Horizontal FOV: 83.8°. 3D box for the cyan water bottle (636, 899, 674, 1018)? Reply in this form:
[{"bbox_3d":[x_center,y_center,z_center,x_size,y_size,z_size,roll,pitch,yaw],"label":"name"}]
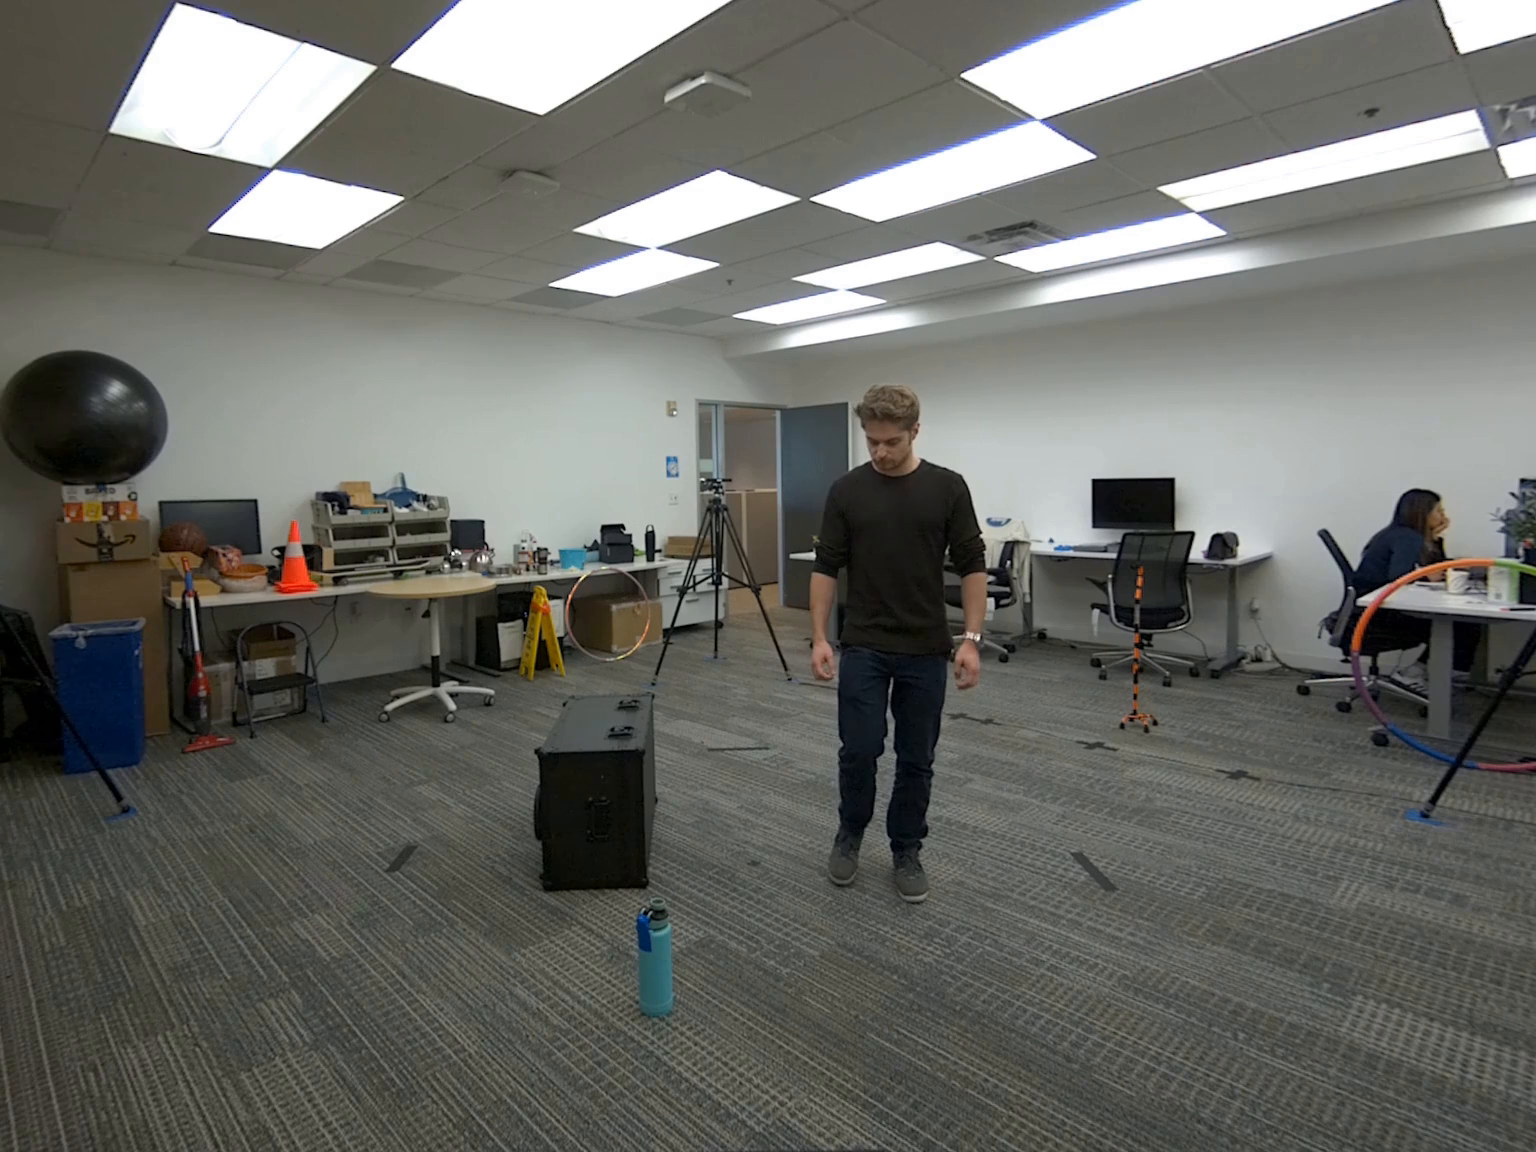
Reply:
[{"bbox_3d":[-0.296,1.011,2.263,0.092,0.282,0.093,-2,5,-1],"label":"cyan water bottle"}]
